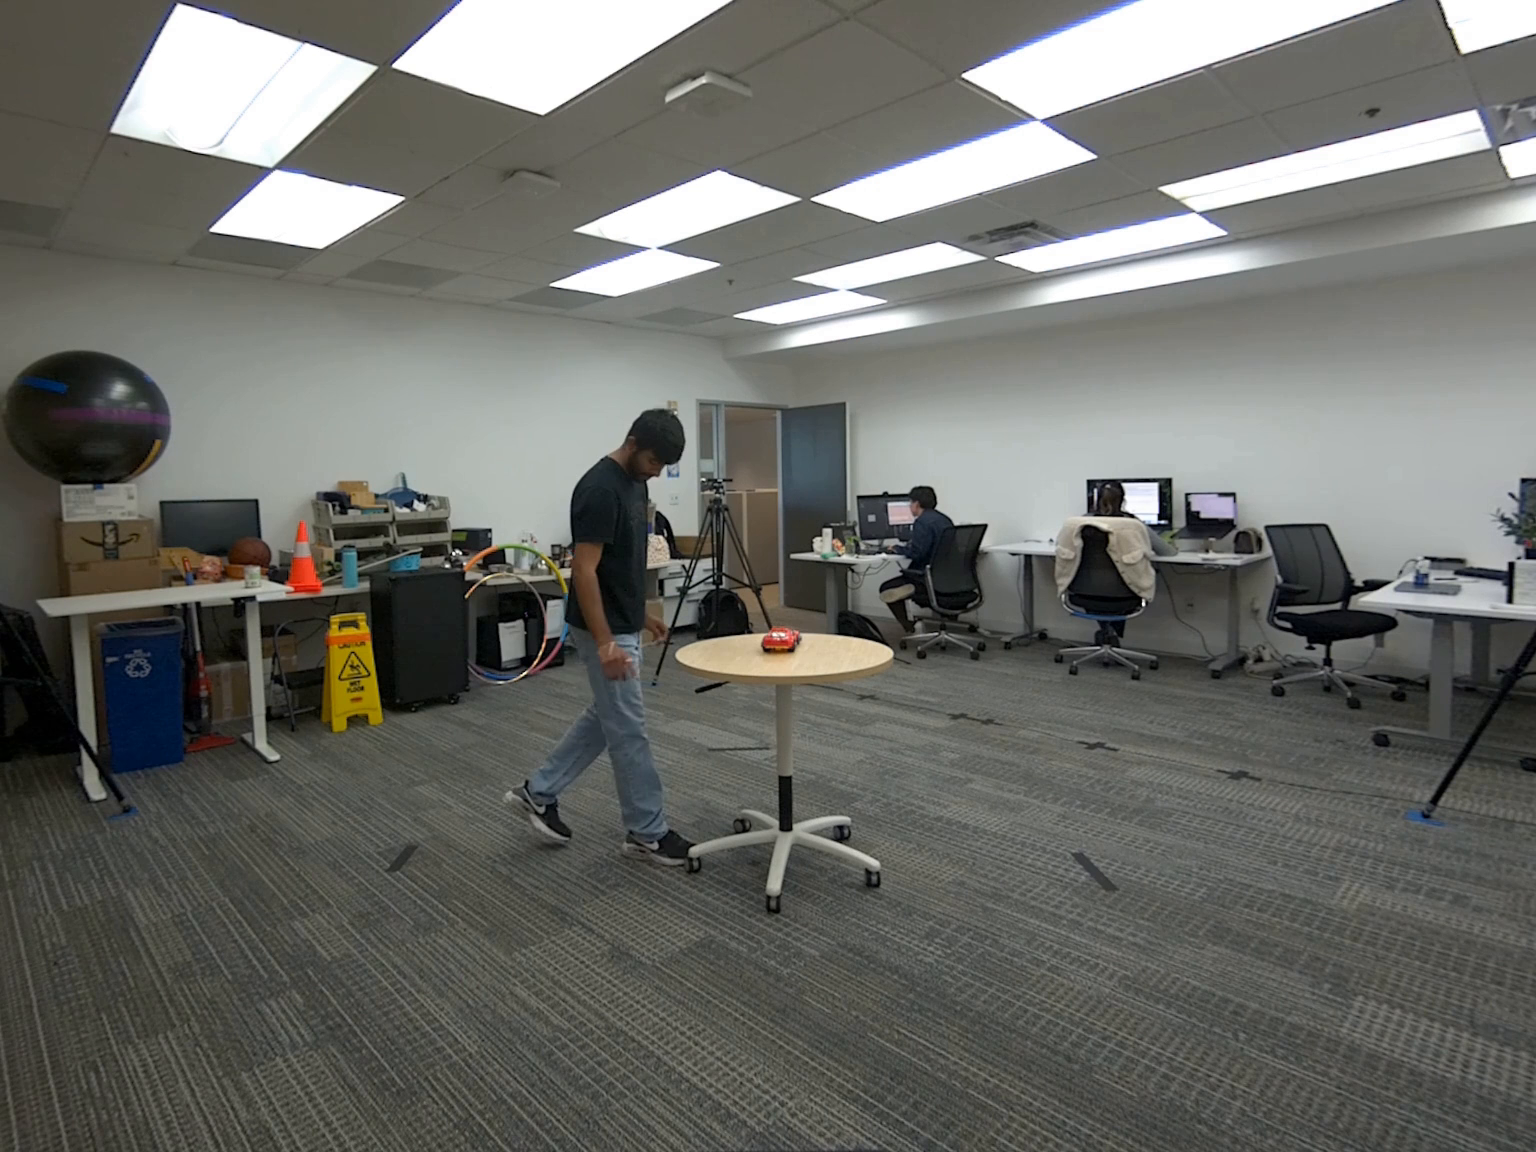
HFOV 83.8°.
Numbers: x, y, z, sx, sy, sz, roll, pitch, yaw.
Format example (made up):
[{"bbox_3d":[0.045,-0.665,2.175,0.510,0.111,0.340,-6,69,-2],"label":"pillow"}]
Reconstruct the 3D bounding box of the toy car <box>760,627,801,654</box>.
[{"bbox_3d":[0.043,0.229,3.077,0.131,0.083,0.250,1,-5,9],"label":"toy car"}]
